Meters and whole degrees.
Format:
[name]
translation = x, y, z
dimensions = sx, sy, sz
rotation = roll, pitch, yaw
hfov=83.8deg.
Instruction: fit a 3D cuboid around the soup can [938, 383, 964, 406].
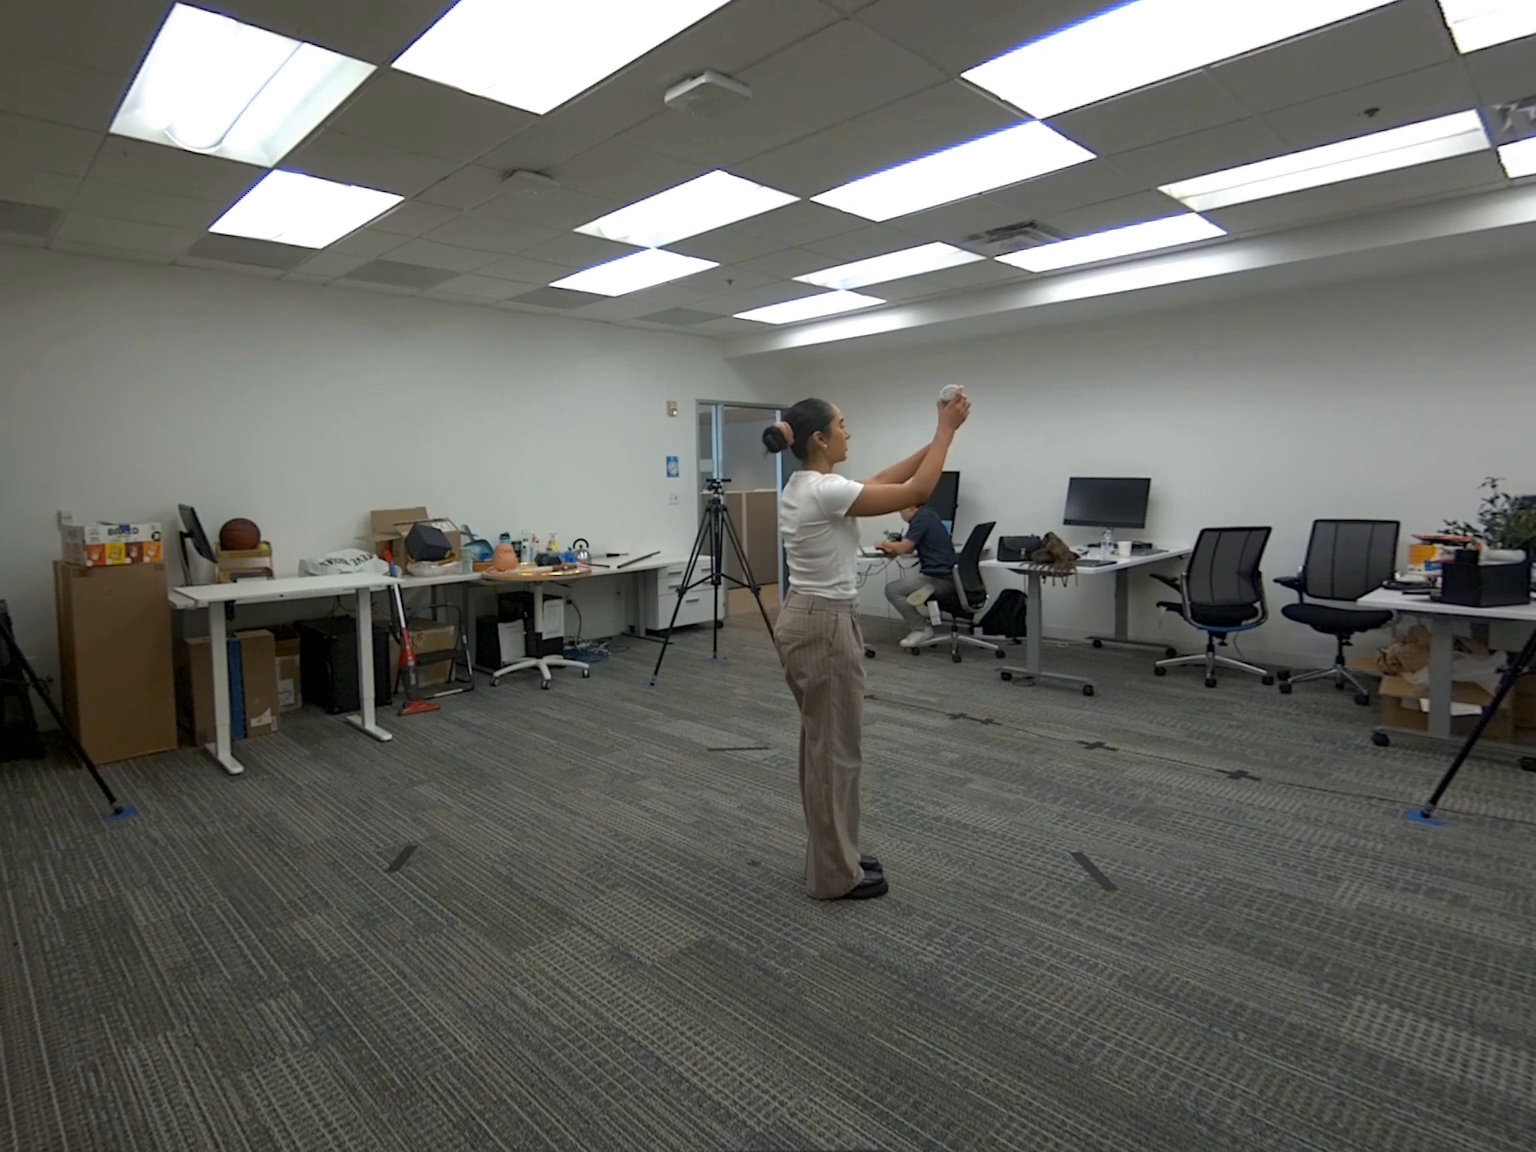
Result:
[soup can]
translation = 0.617, -0.562, 2.834
dimensions = 0.067, 0.117, 0.069
rotation = -13, 41, 10
